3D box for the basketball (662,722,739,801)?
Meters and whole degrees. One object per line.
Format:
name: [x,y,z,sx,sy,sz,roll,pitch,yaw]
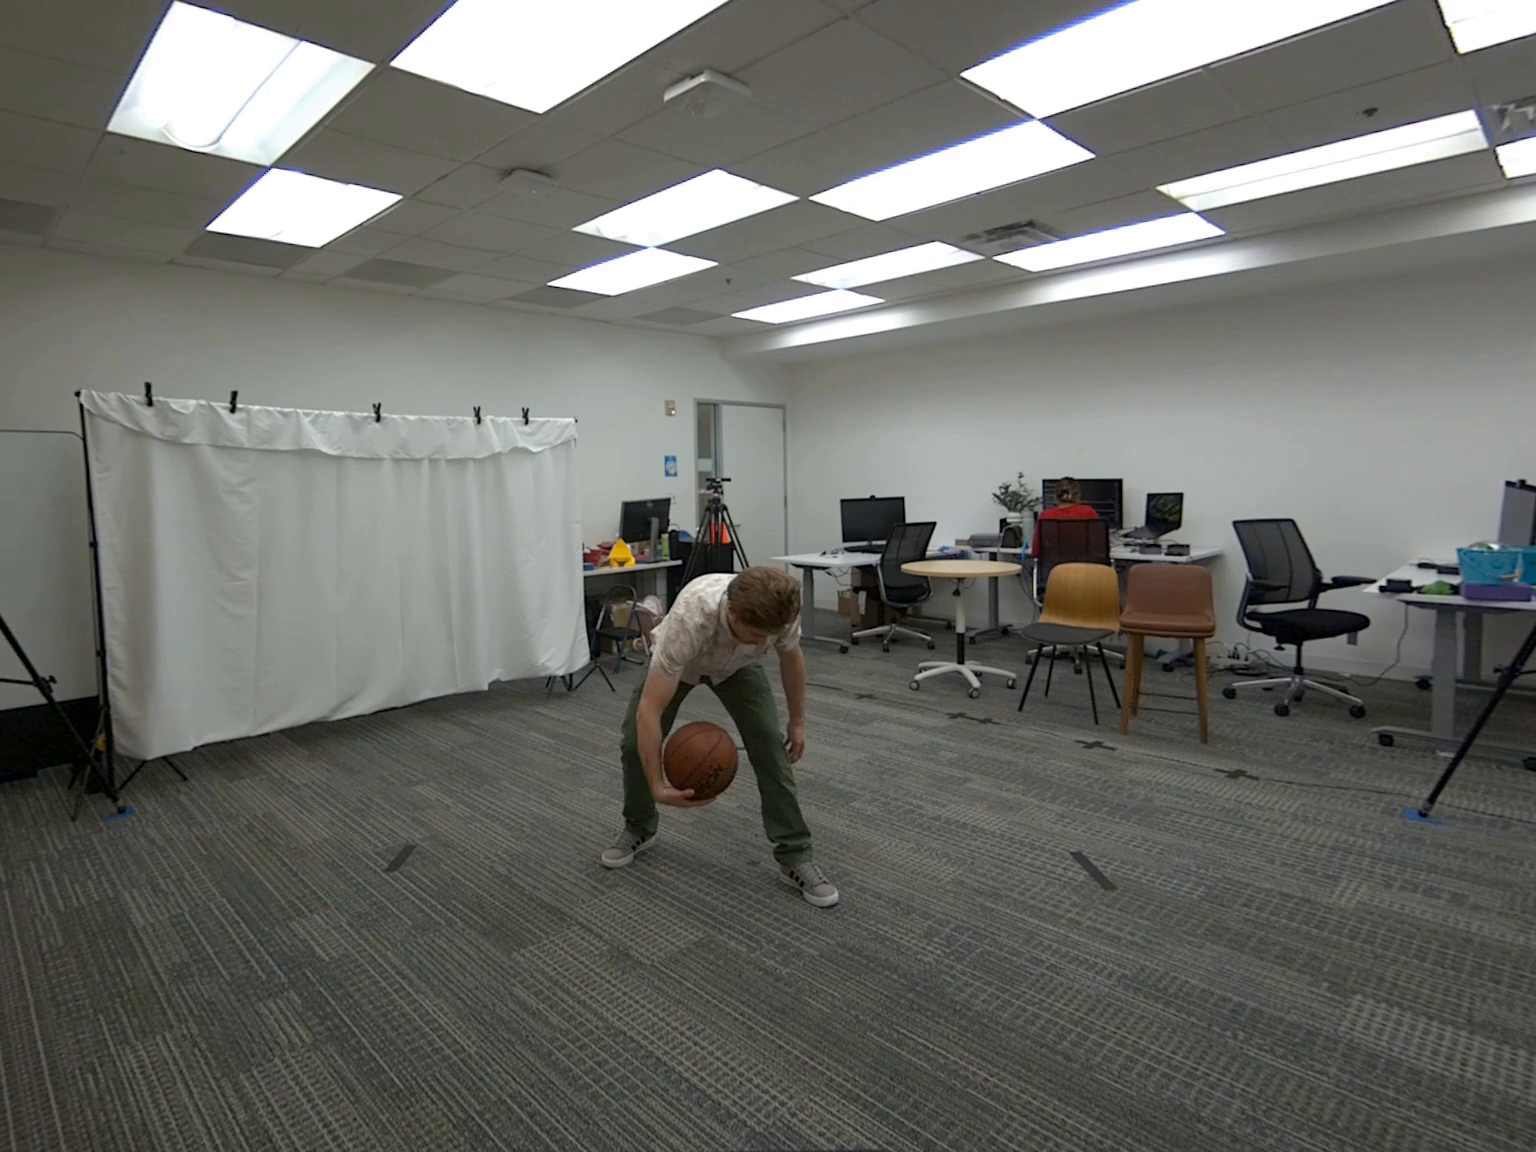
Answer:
basketball: [-0.203,0.588,2.697,0.236,0.235,0.237,-1,5,-2]
